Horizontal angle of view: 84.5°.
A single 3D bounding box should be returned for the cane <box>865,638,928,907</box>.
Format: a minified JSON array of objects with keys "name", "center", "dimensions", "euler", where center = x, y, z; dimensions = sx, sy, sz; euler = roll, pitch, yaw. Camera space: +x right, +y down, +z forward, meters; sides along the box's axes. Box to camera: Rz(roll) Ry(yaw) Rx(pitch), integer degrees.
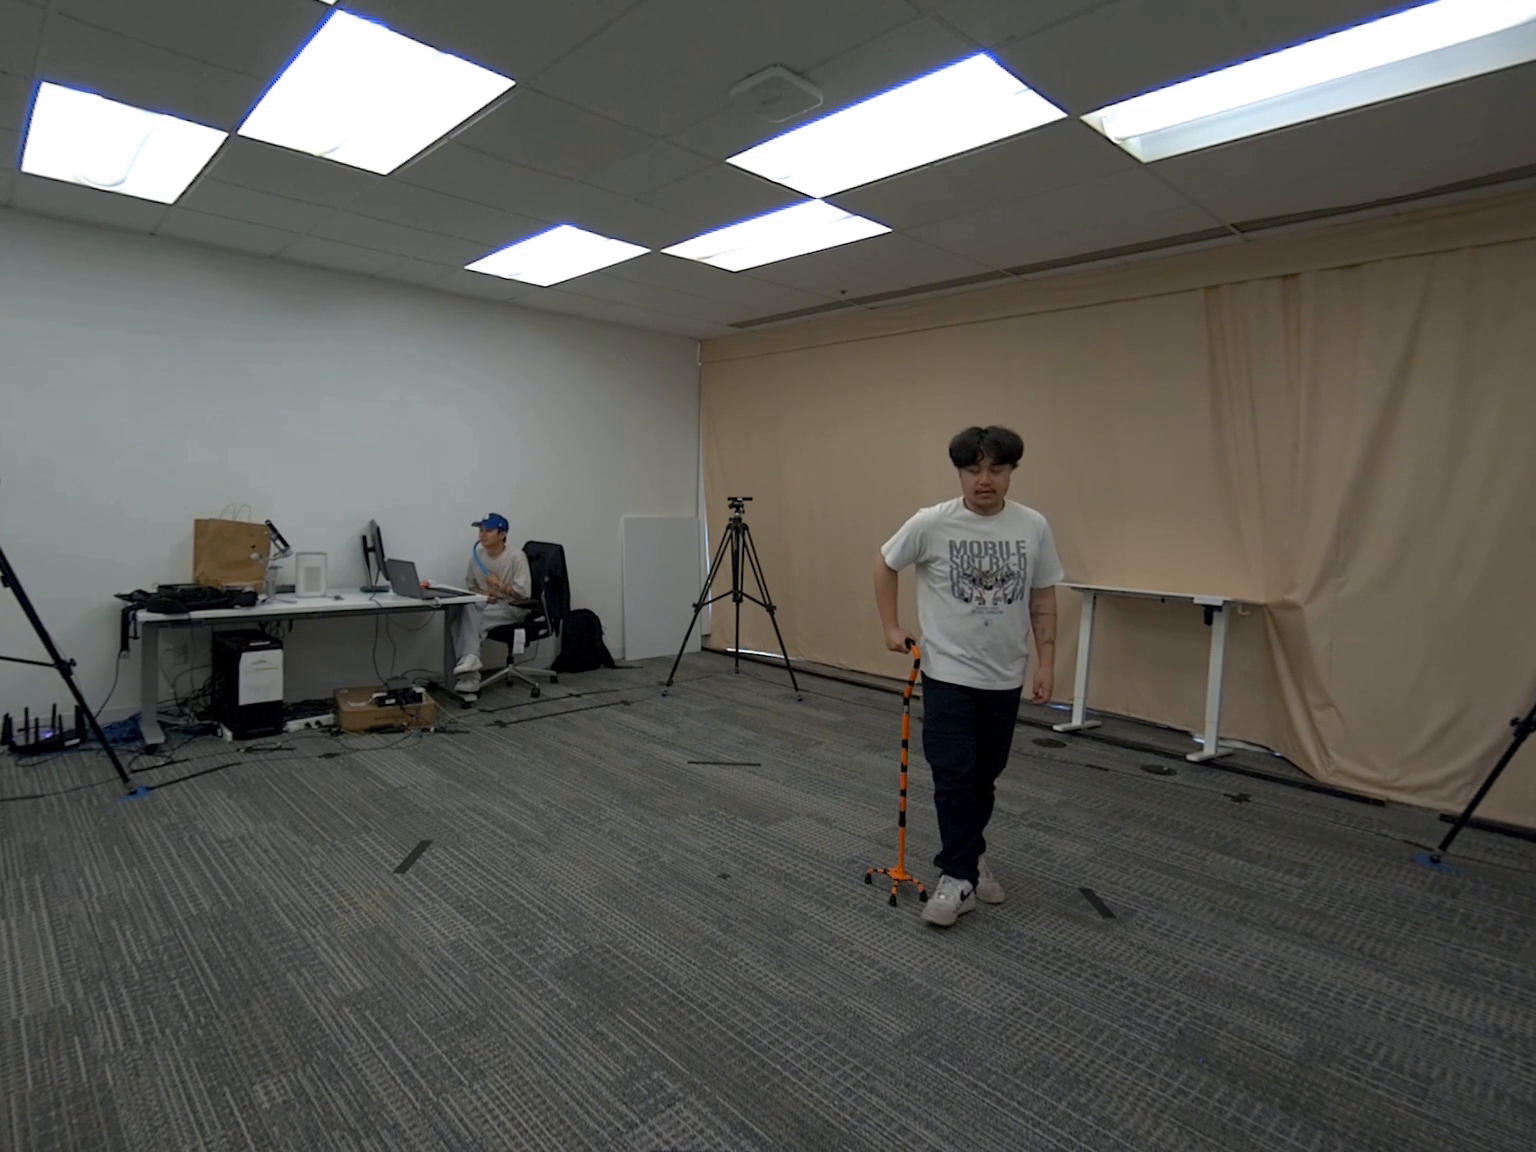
[{"name":"cane","center":[0.458,0.672,2.997],"dimensions":[0.149,0.906,0.210],"euler":[1,3,-21]}]
